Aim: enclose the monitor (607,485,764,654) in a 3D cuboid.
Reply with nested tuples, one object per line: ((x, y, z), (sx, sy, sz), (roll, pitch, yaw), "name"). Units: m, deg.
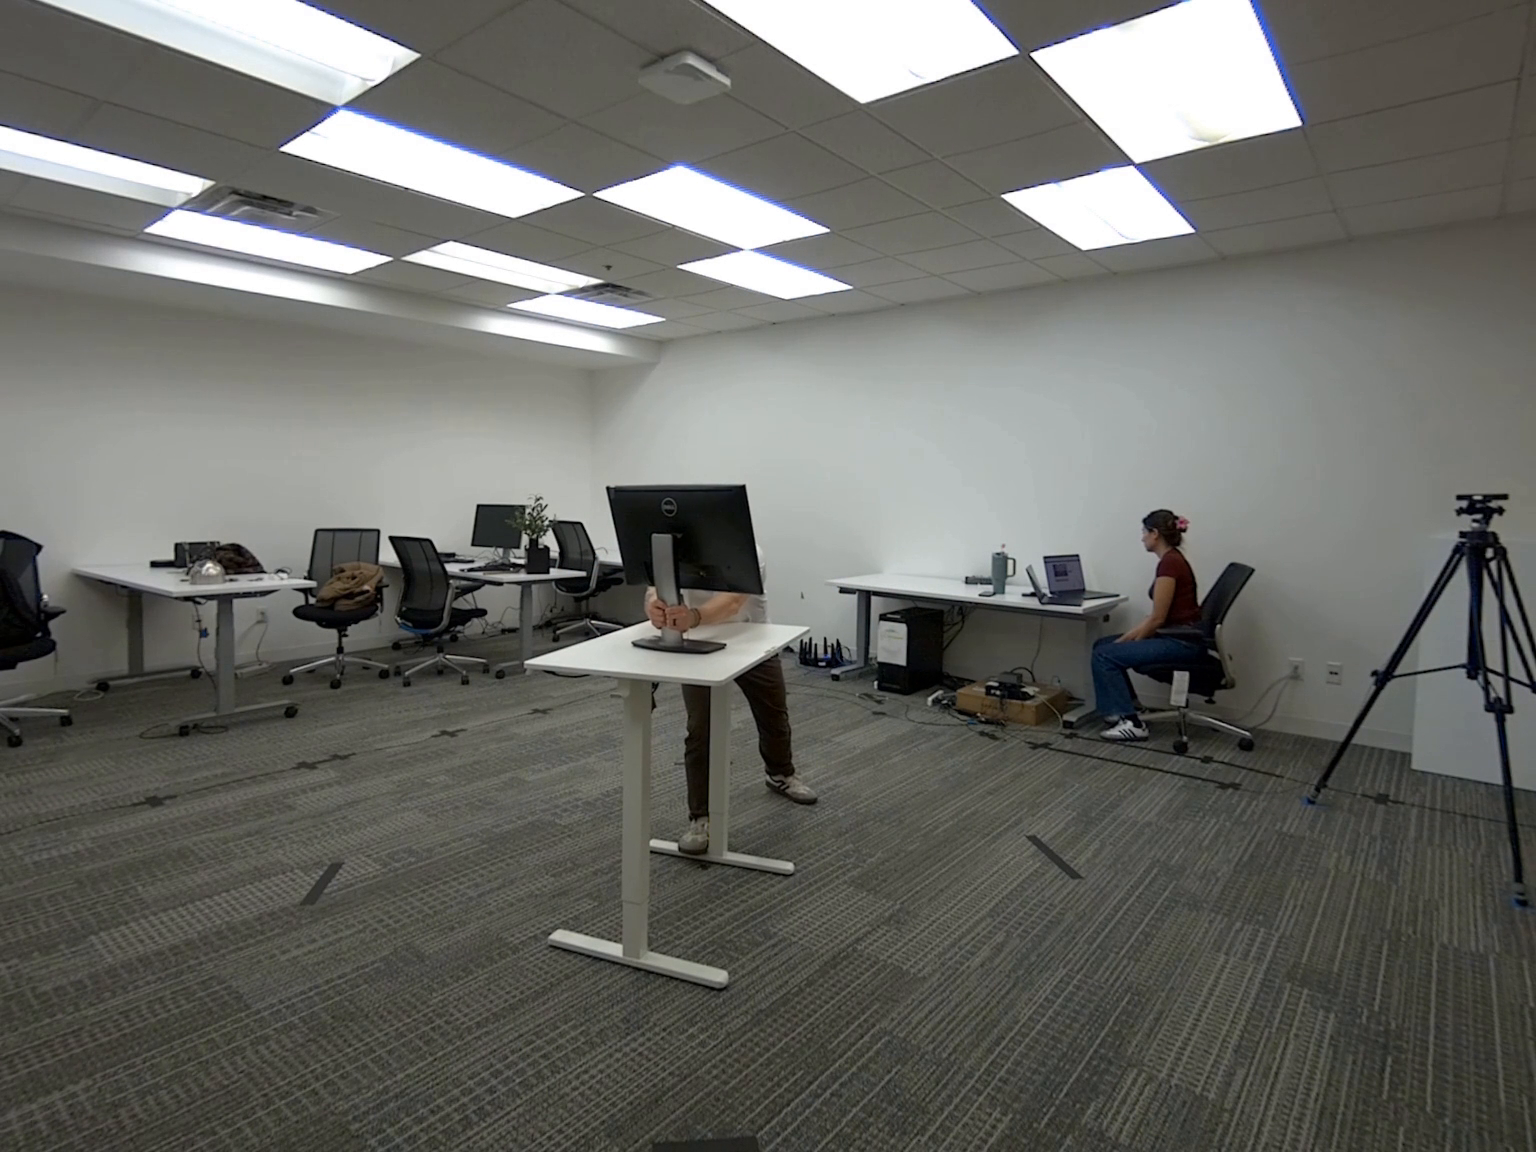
((-0.300, -0.030, 2.683), (0.554, 0.520, 0.183), (2, 7, 30), "monitor")
